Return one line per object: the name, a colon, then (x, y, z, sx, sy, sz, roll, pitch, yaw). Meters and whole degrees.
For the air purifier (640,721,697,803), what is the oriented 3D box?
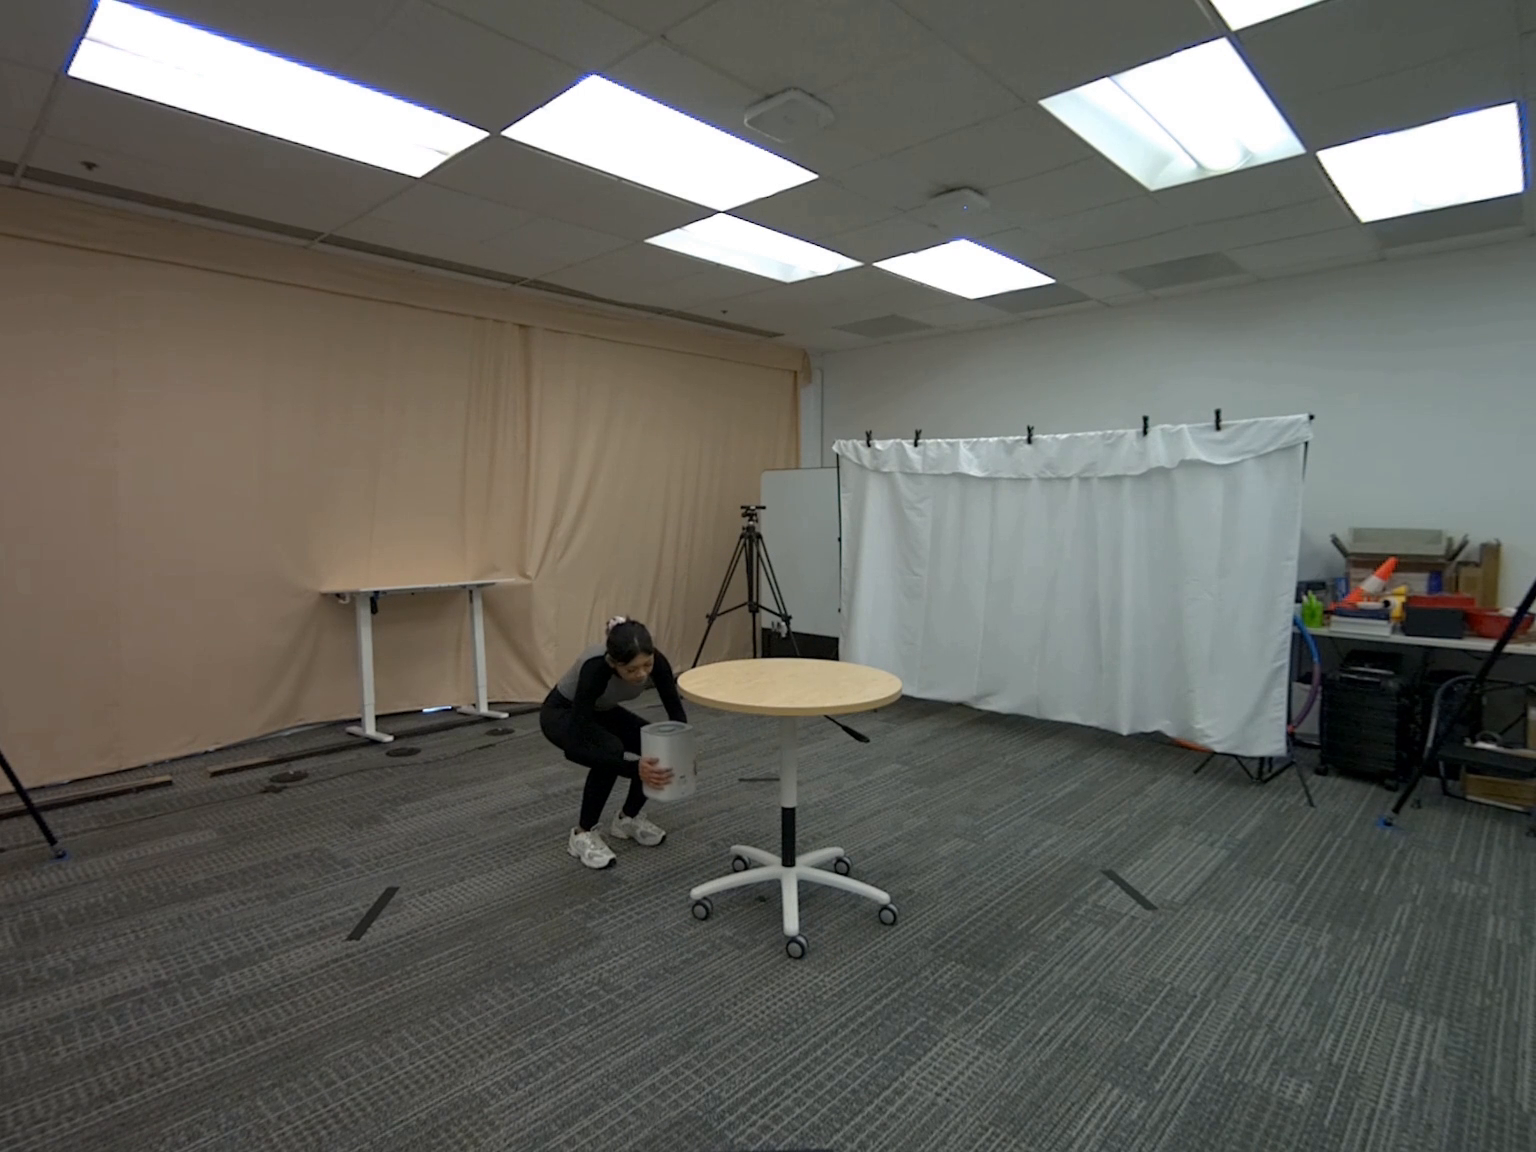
air purifier: (-0.379, 0.699, 3.186, 0.177, 0.265, 0.166, 3, 4, 45)
